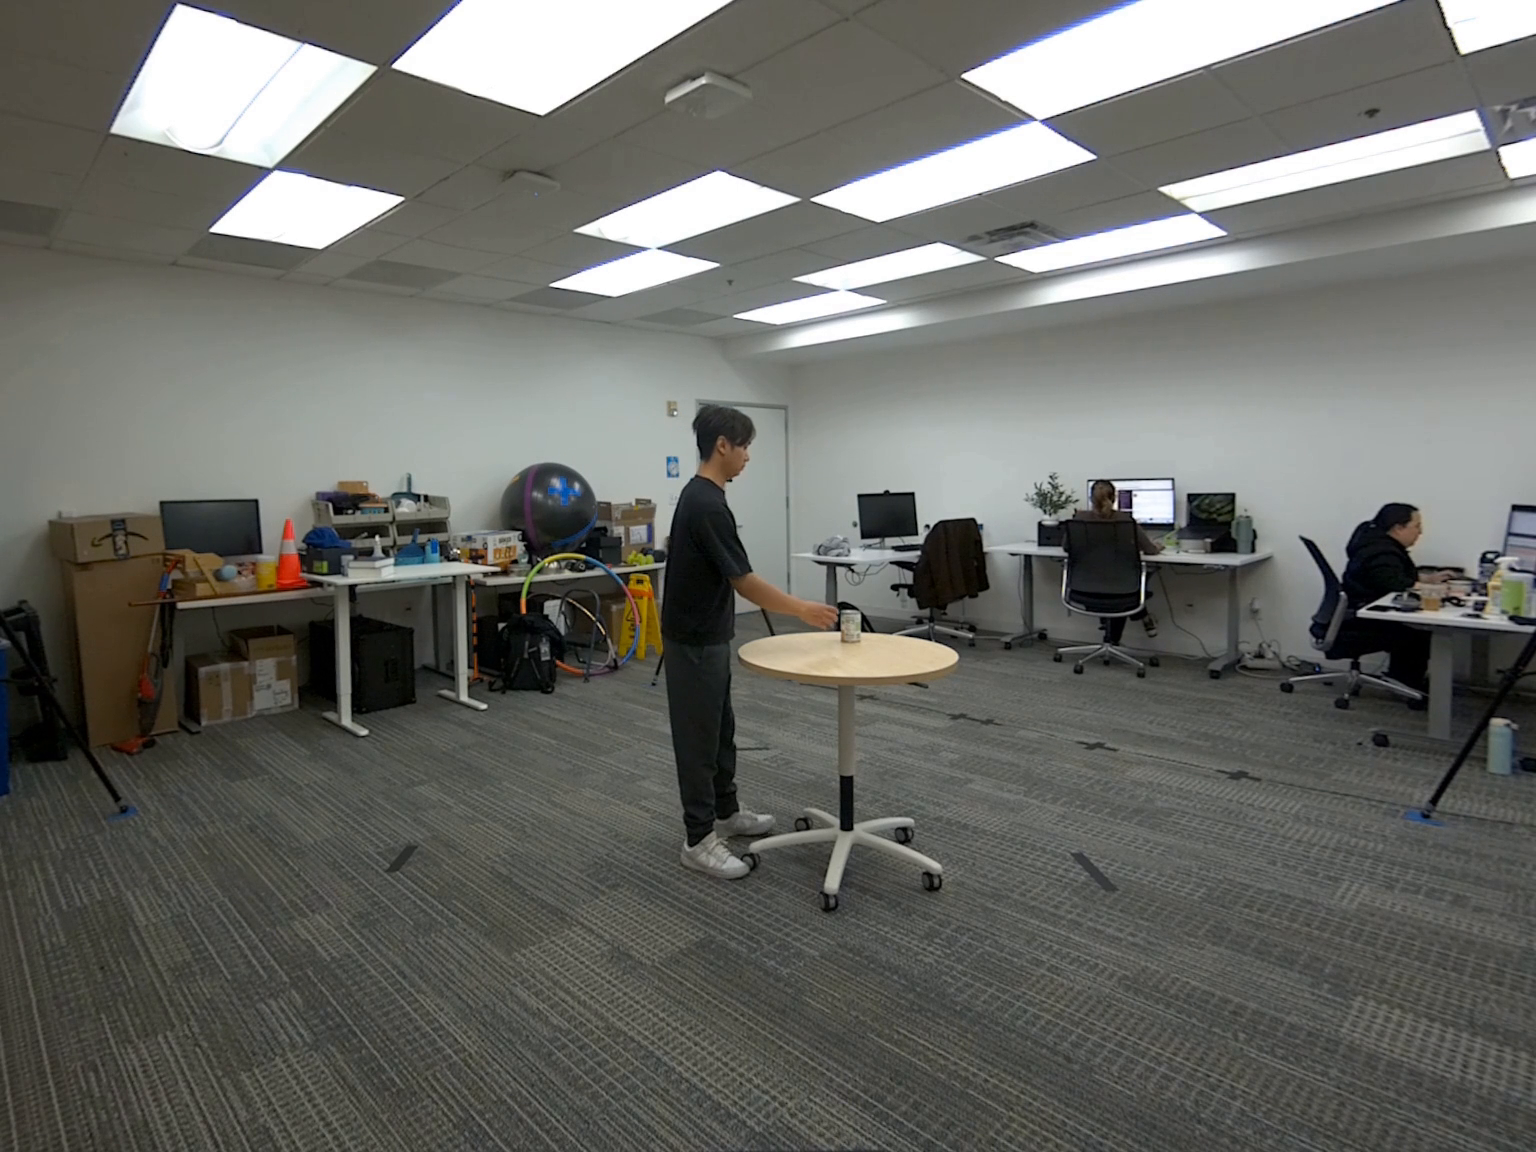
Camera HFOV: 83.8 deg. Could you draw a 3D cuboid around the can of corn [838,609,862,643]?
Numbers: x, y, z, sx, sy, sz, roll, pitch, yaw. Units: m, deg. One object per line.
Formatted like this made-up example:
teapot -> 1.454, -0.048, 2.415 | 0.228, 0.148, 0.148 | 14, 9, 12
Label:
can of corn -> 0.305, 0.187, 3.199 | 0.074, 0.111, 0.074 | -1, 3, -2
